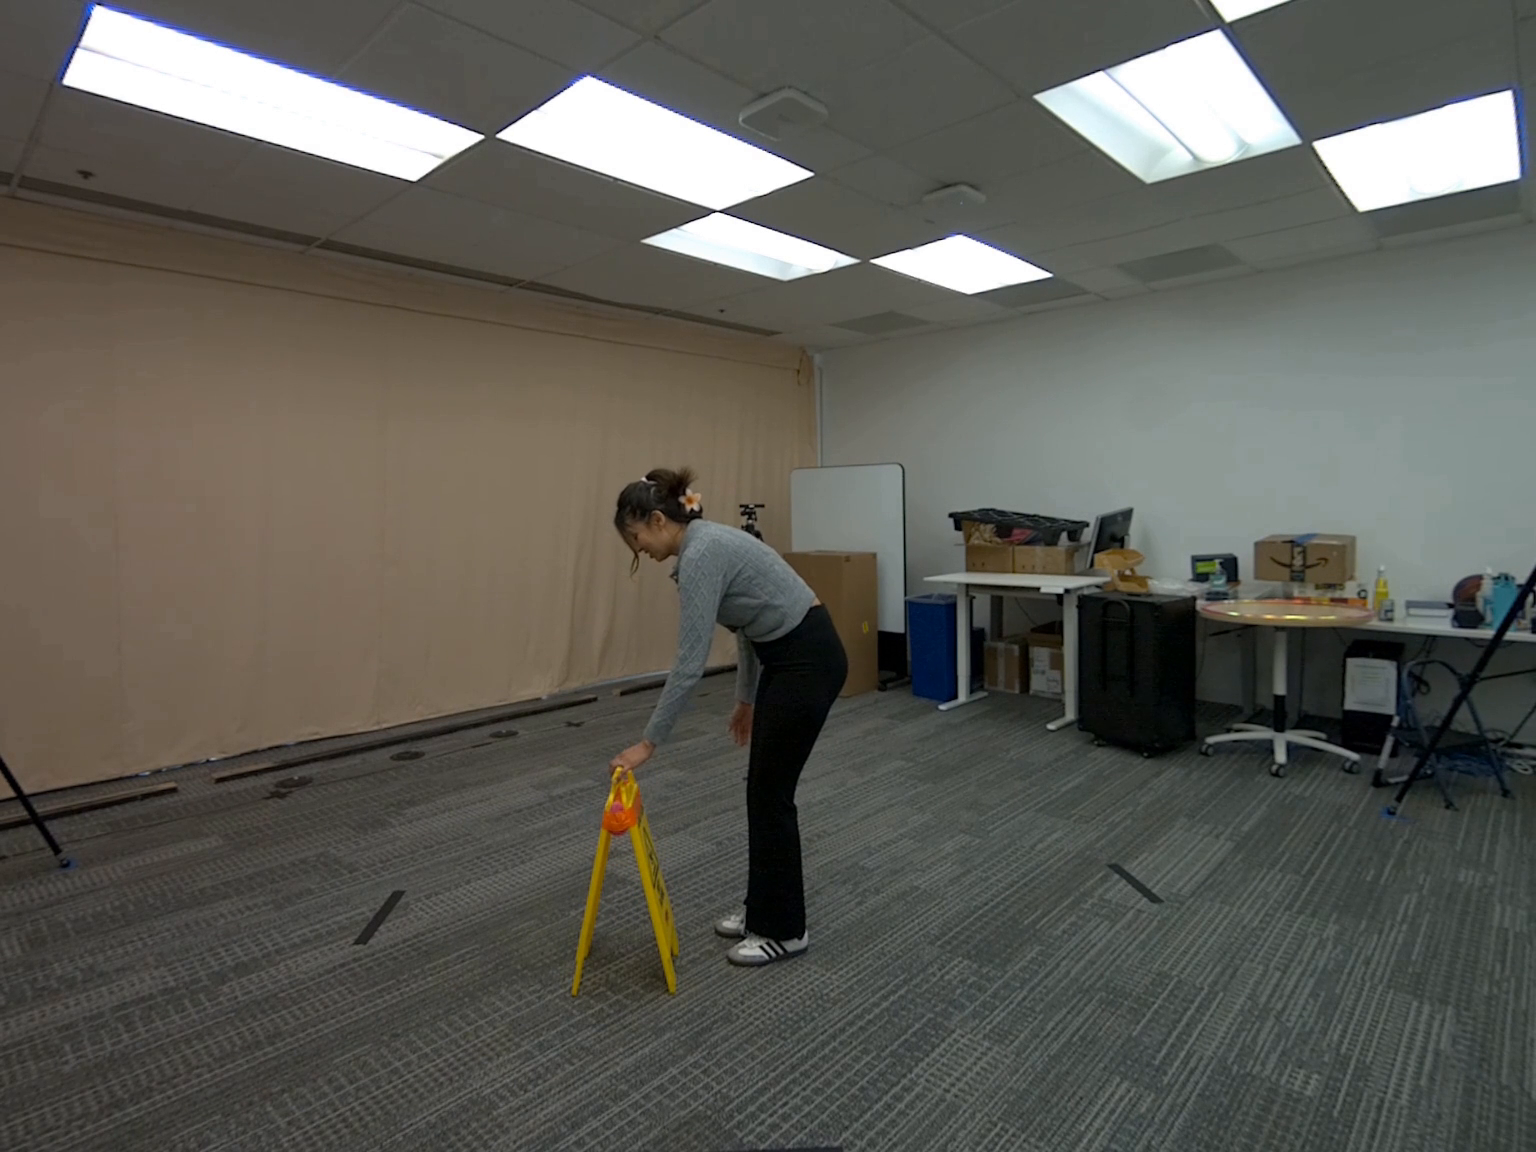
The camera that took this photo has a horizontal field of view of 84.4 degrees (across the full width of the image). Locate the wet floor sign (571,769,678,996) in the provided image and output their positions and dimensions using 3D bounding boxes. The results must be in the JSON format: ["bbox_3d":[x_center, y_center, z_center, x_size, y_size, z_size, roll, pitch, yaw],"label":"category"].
[{"bbox_3d":[-0.427,0.864,2.526,0.289,0.646,0.283,-1,1,-3],"label":"wet floor sign"}]
